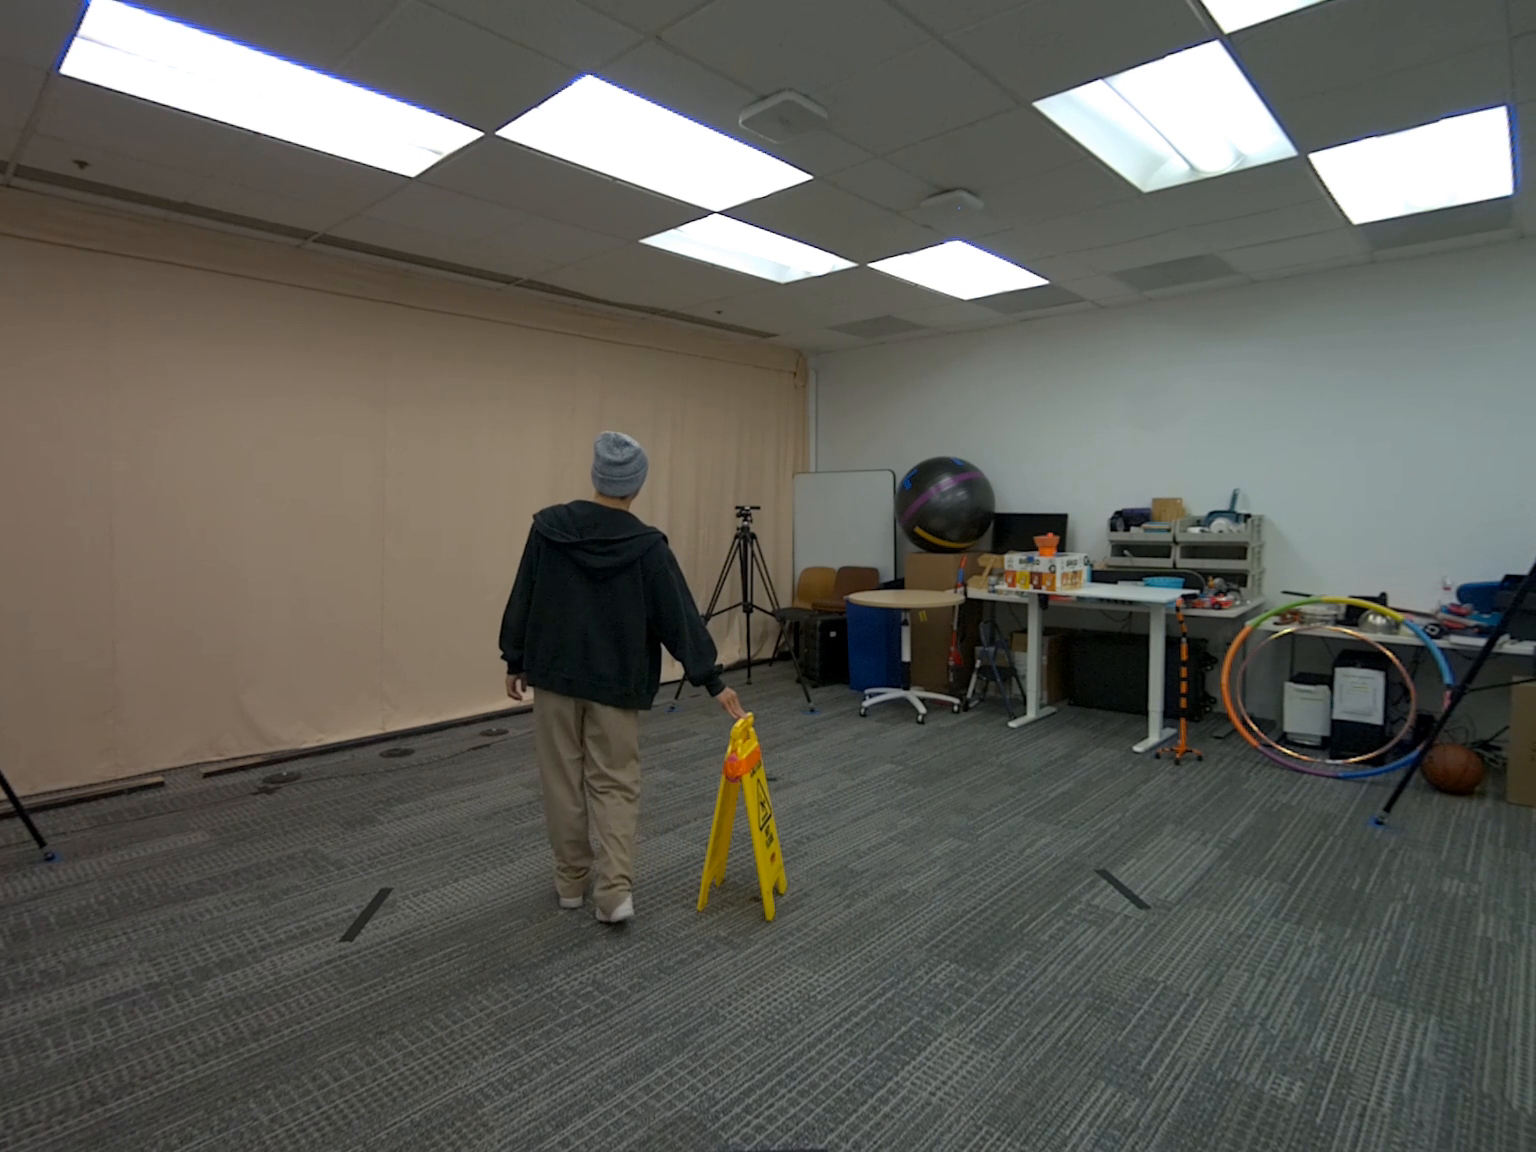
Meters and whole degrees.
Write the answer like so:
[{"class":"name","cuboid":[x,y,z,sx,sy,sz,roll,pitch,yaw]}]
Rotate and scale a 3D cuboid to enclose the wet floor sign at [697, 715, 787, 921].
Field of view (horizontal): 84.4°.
[{"class":"wet floor sign","cuboid":[-0.092,0.824,2.961,0.295,0.645,0.278,1,2,15]}]
